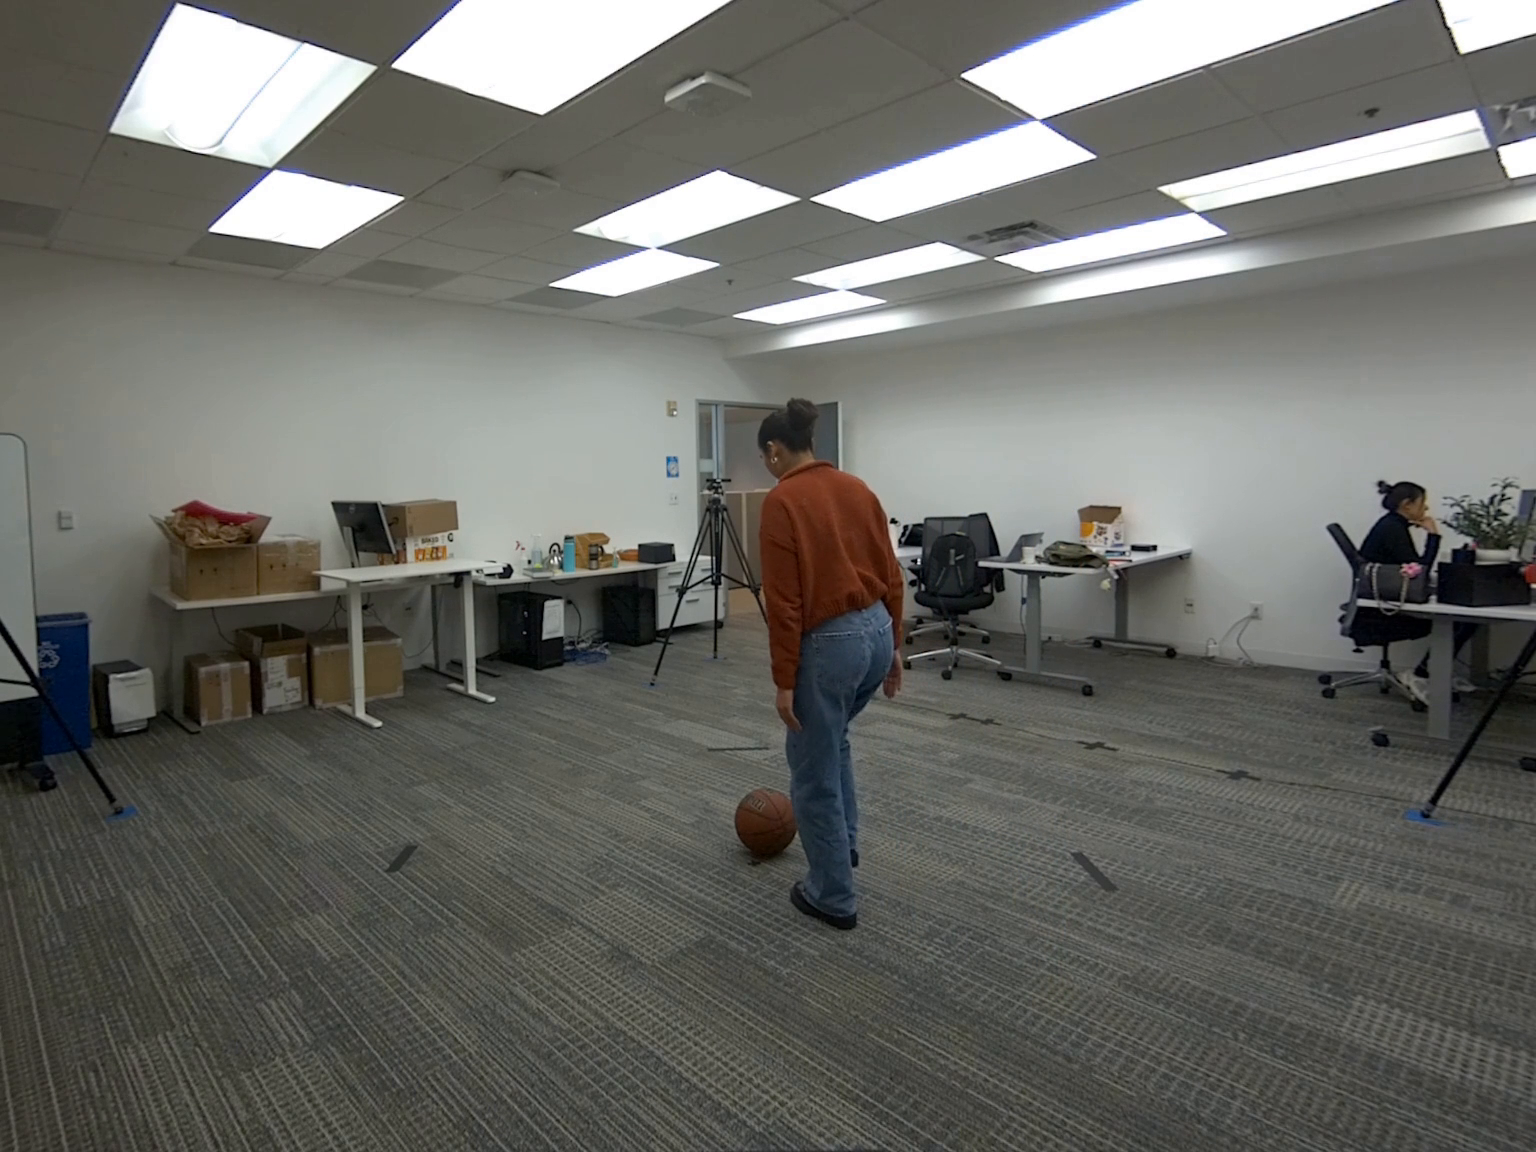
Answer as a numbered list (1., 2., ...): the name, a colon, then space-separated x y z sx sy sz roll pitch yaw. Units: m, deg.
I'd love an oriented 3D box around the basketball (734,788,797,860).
1. basketball: -0.001 0.915 3.186 0.236 0.235 0.237 -1 5 -2
